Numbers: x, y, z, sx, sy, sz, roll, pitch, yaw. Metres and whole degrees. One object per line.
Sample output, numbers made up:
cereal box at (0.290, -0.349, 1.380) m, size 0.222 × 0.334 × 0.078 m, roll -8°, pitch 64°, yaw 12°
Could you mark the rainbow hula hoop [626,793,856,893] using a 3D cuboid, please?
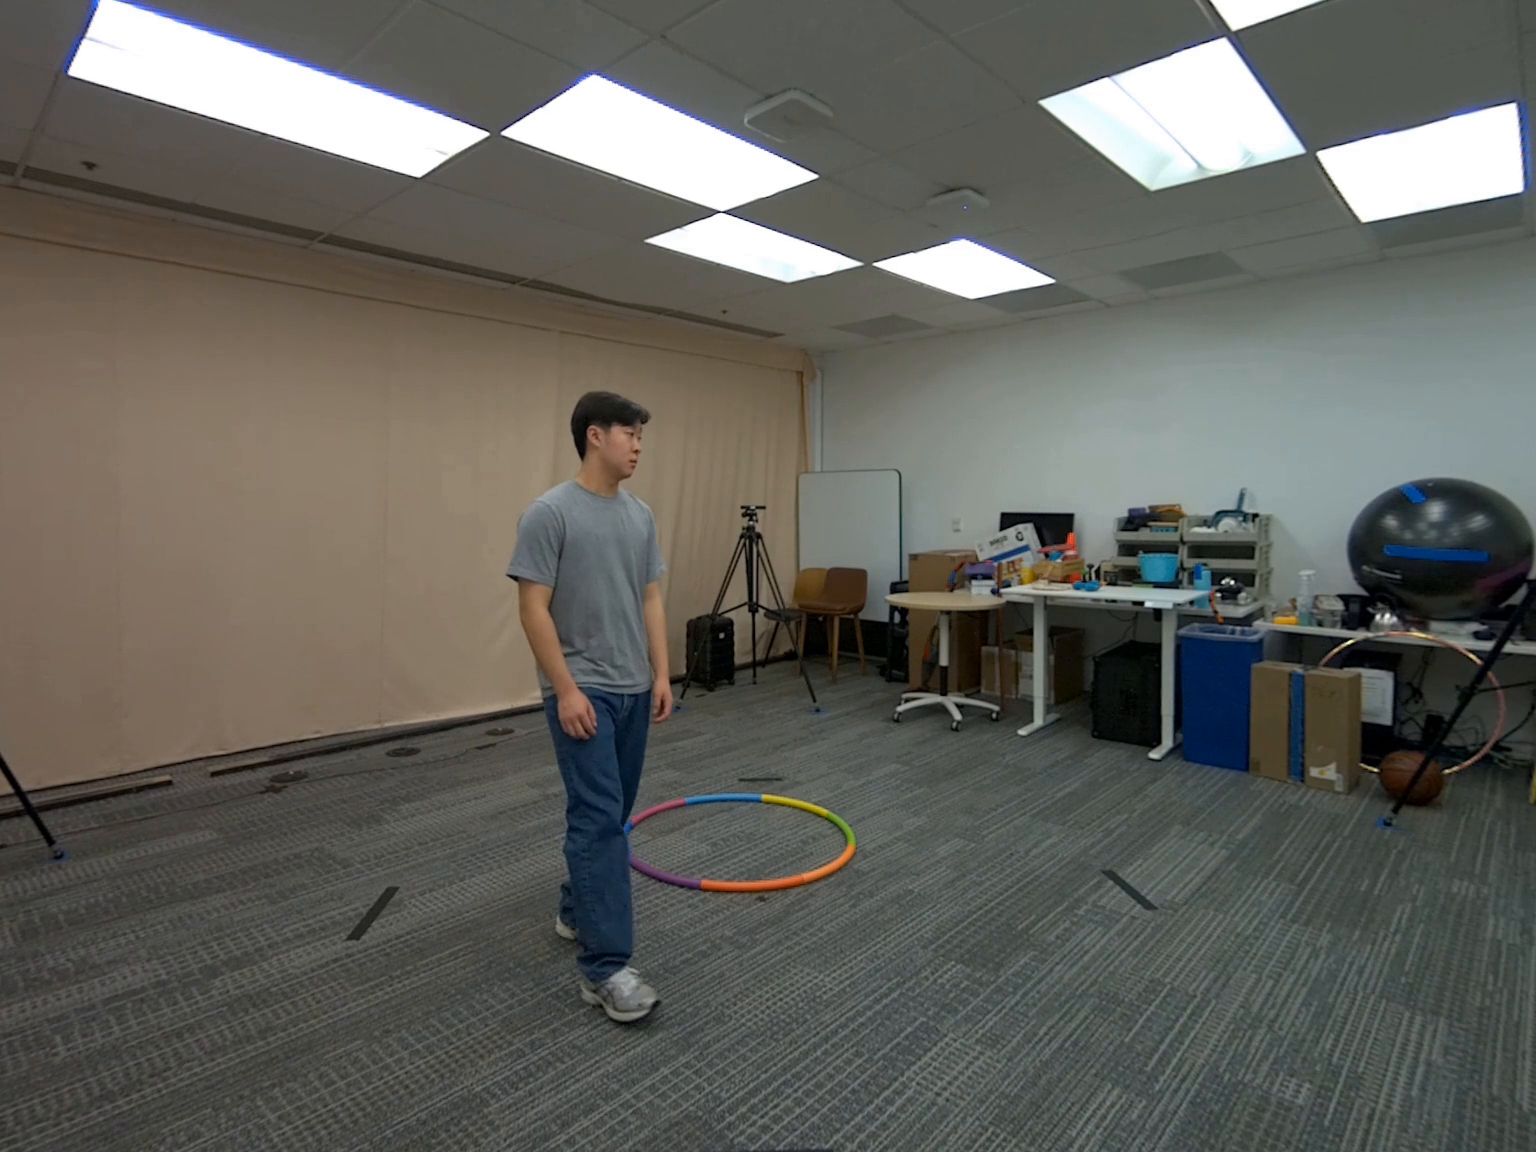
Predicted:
rainbow hula hoop at (-0.132, 1.068, 3.510) m, size 0.978 × 0.035 × 0.982 m, roll 0°, pitch 5°, yaw -2°
